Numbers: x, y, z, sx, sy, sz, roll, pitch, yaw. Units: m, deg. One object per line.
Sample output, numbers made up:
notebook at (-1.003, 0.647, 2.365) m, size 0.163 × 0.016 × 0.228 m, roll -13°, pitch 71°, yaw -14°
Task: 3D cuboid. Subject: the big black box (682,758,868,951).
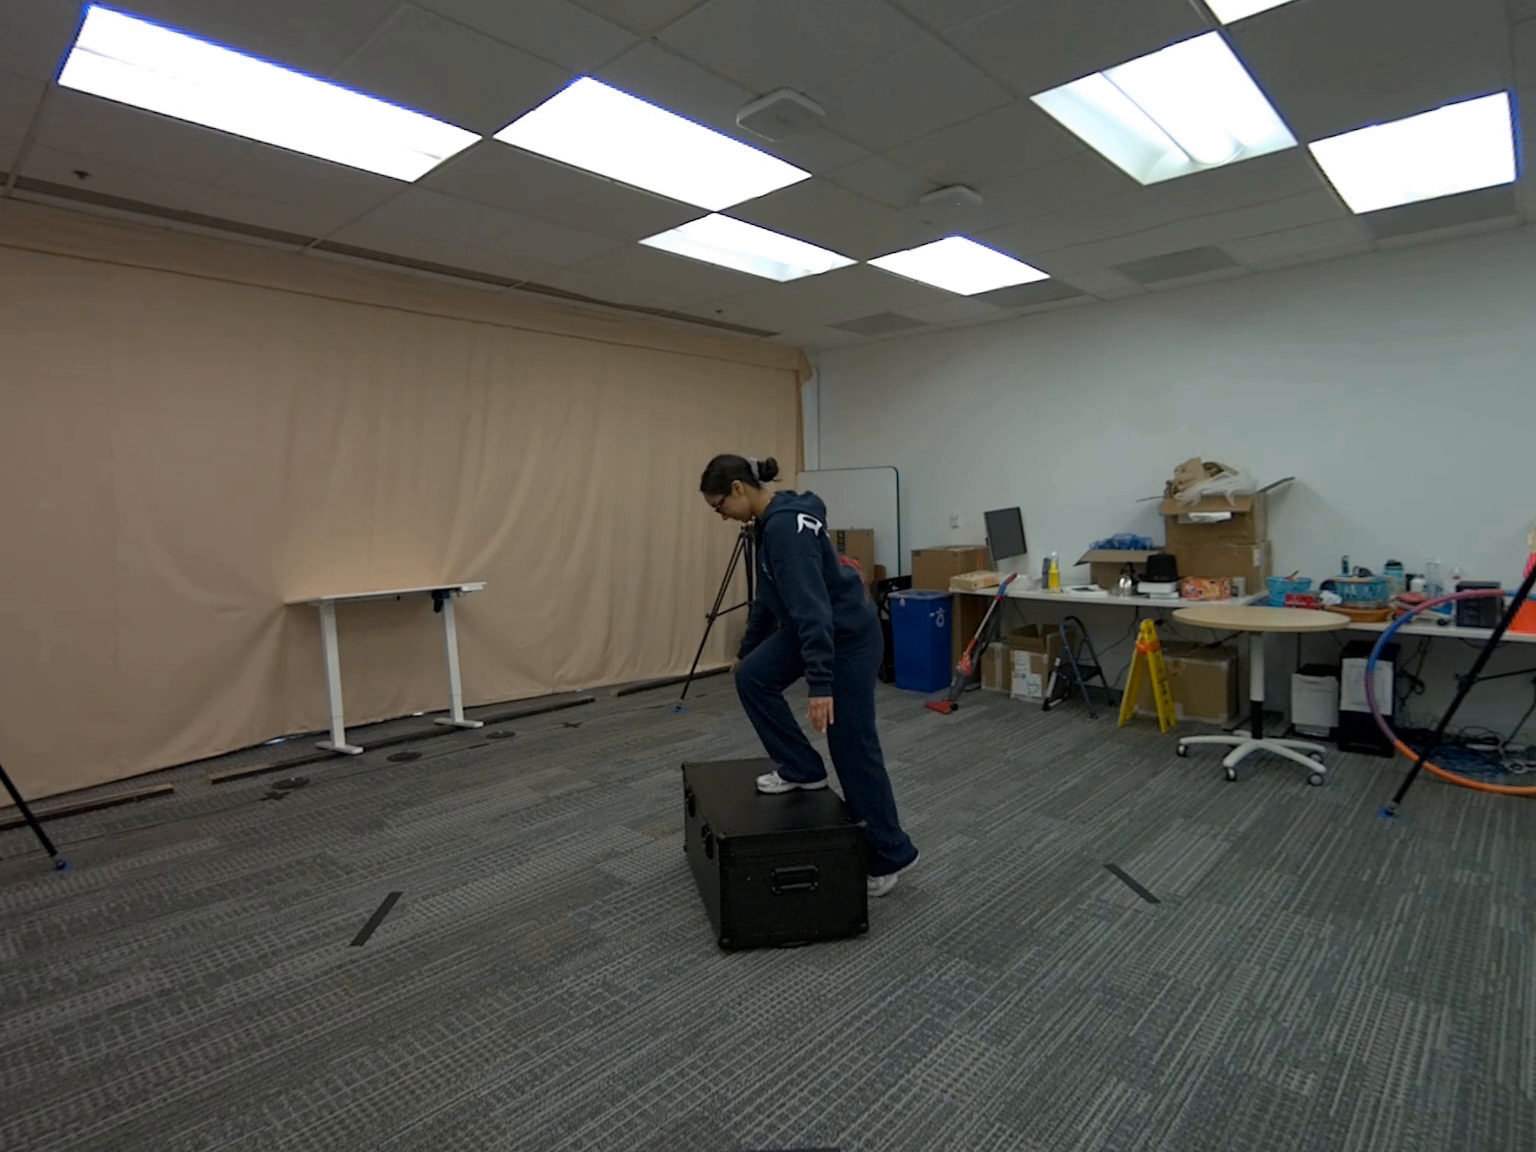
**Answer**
big black box at (-0.015, 0.946, 3.044) m, size 0.514 × 0.395 × 0.875 m, roll -2°, pitch 5°, yaw -13°
